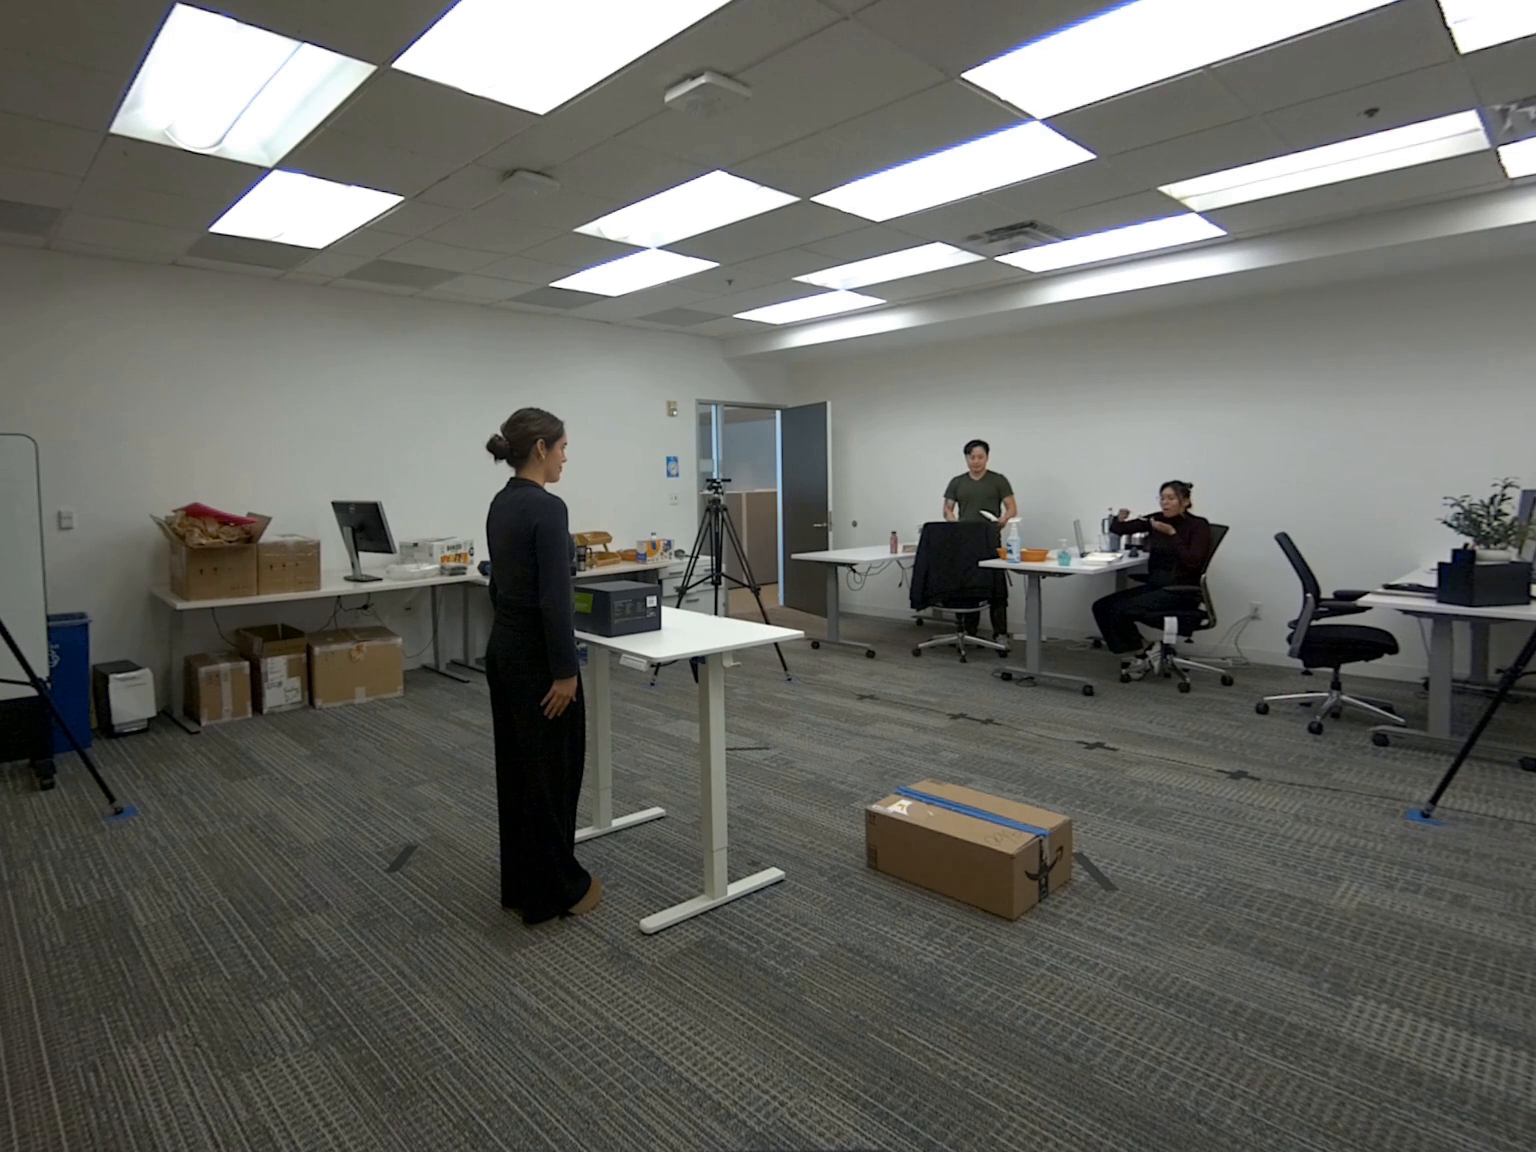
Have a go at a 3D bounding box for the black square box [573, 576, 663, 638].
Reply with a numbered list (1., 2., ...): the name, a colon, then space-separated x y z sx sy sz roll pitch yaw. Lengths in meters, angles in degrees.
1. black square box: -0.529 0.109 2.962 0.211 0.155 0.235 -6 7 -43
